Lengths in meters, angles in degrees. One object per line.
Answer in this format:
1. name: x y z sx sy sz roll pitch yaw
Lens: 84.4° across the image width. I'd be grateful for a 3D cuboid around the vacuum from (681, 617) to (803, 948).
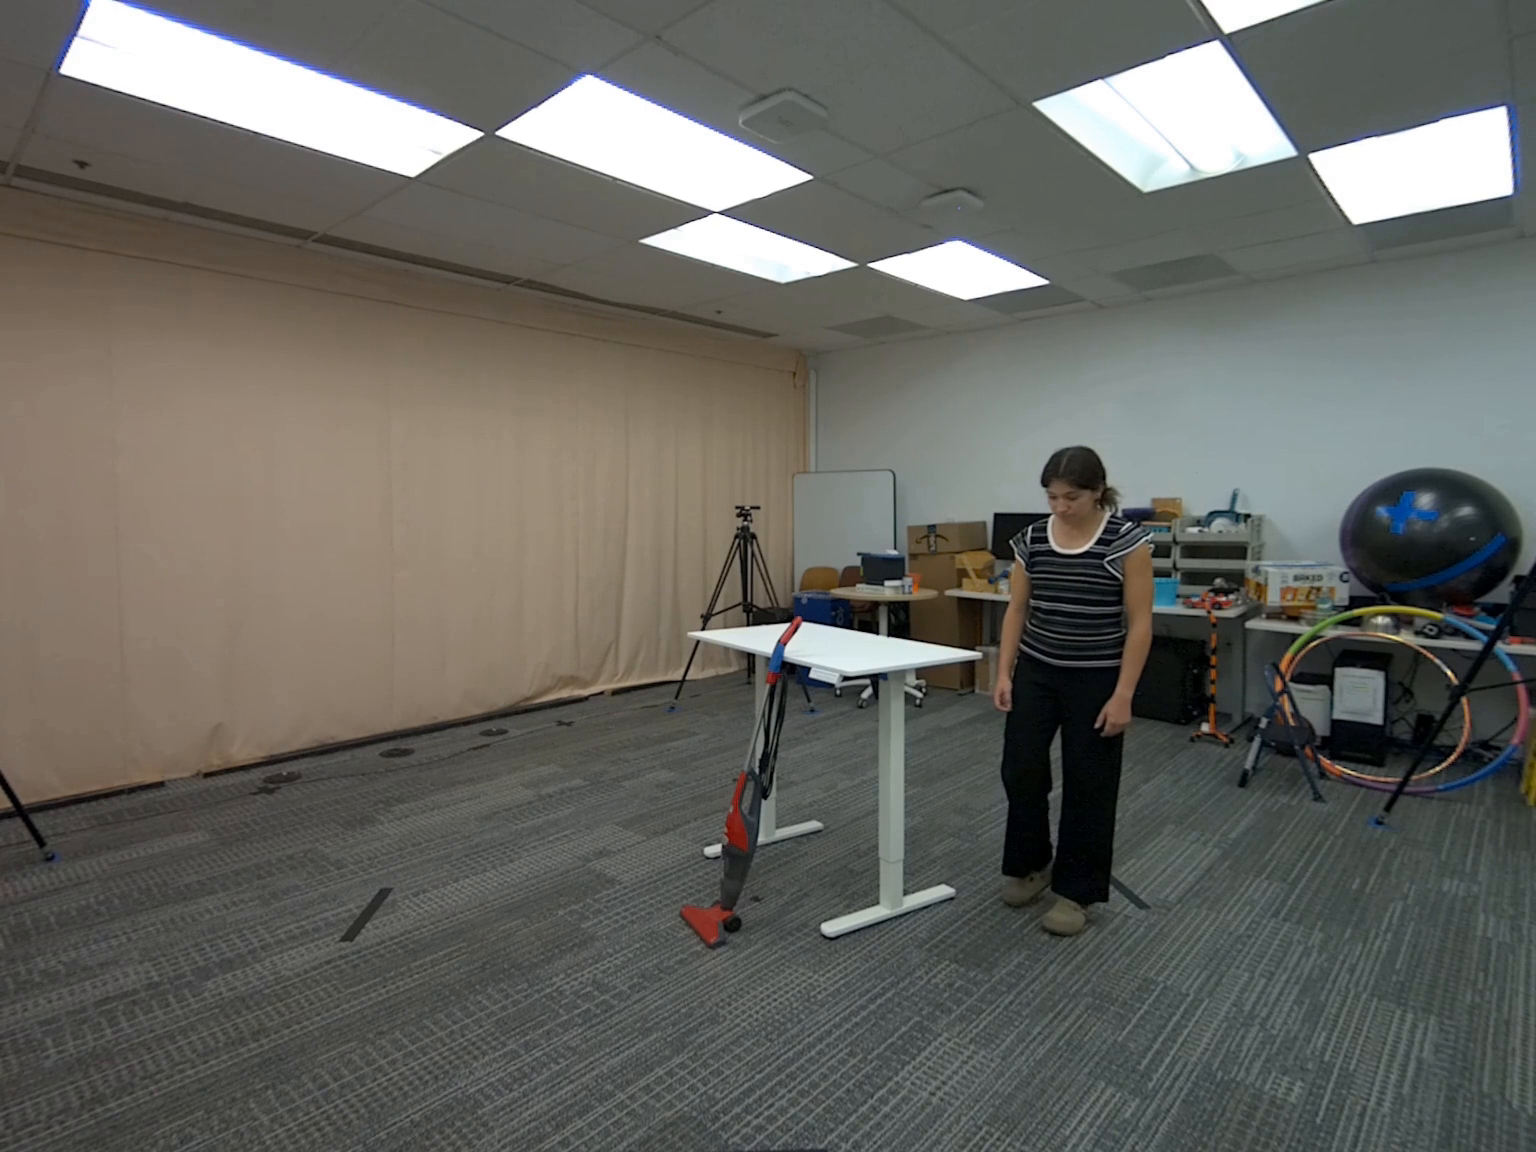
1. vacuum: -0.045 0.670 2.817 0.139 1.050 0.260 18 -4 -30
